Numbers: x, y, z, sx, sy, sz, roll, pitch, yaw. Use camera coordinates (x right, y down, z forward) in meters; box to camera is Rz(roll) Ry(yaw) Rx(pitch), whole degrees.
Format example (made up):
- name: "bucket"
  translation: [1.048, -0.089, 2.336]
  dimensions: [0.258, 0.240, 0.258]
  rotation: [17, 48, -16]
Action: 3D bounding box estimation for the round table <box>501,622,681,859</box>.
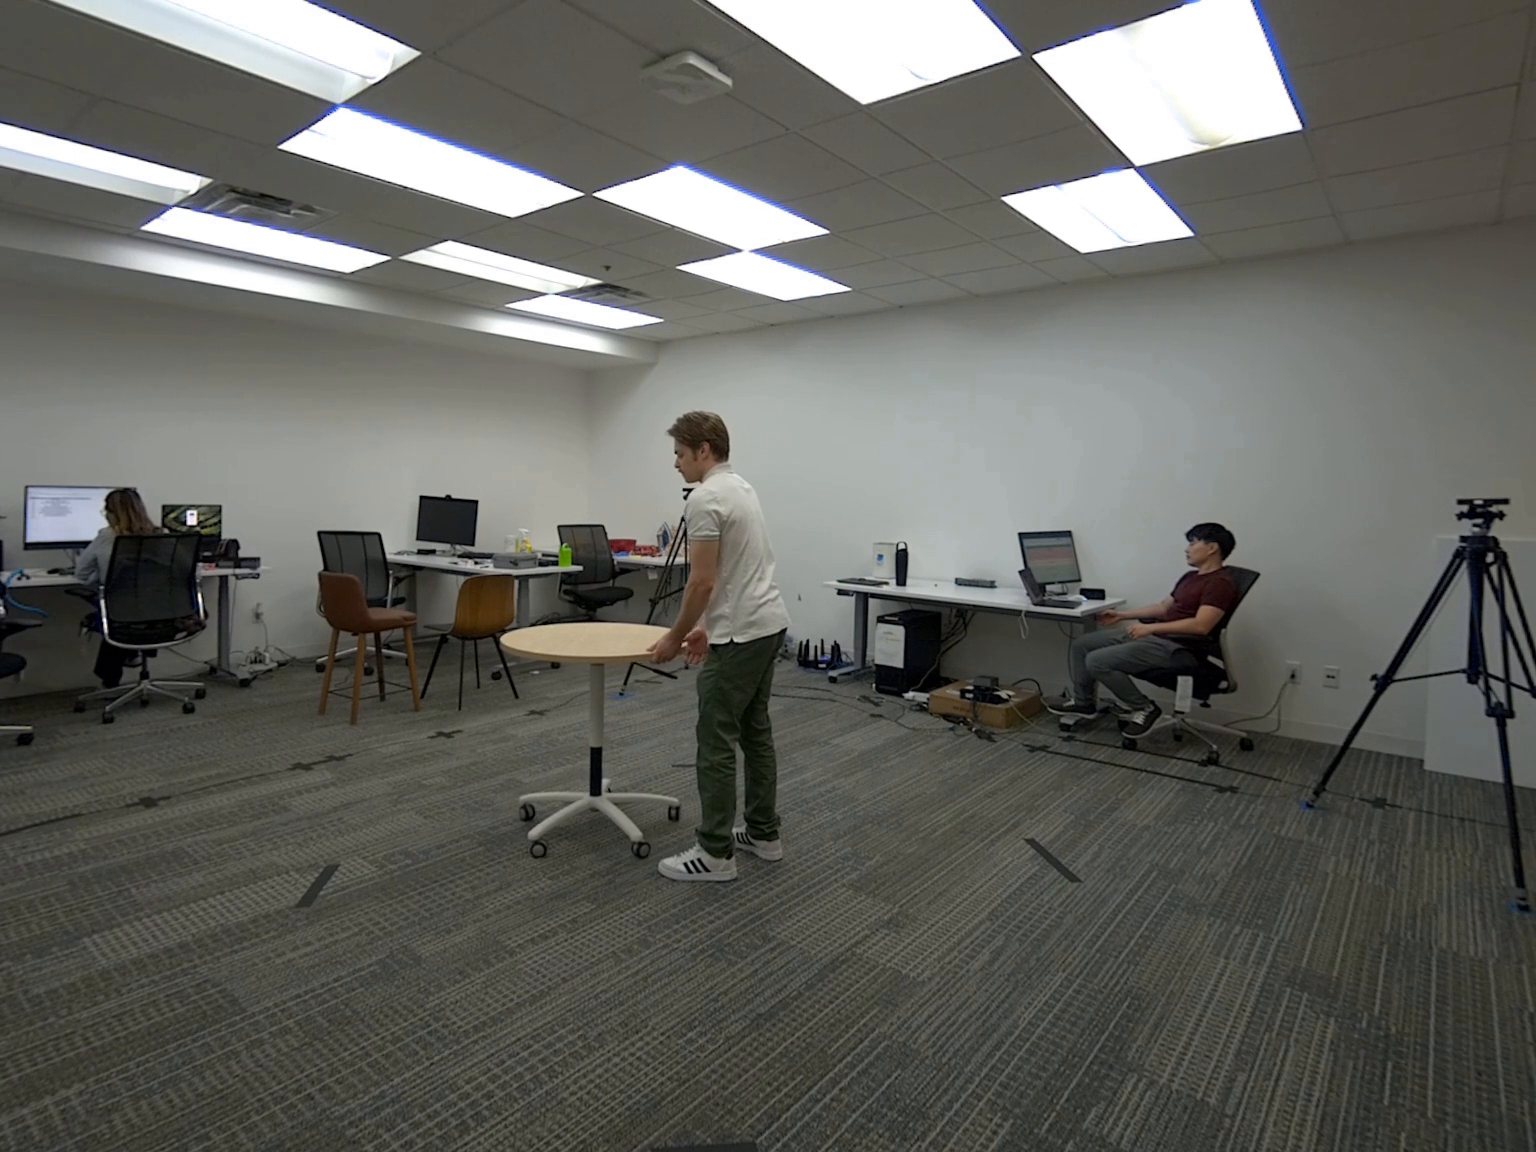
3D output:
- name: "round table"
  translation: [-0.705, 0.641, 3.453]
  dimensions: [0.763, 0.791, 0.768]
  rotation: [1, 4, -2]
